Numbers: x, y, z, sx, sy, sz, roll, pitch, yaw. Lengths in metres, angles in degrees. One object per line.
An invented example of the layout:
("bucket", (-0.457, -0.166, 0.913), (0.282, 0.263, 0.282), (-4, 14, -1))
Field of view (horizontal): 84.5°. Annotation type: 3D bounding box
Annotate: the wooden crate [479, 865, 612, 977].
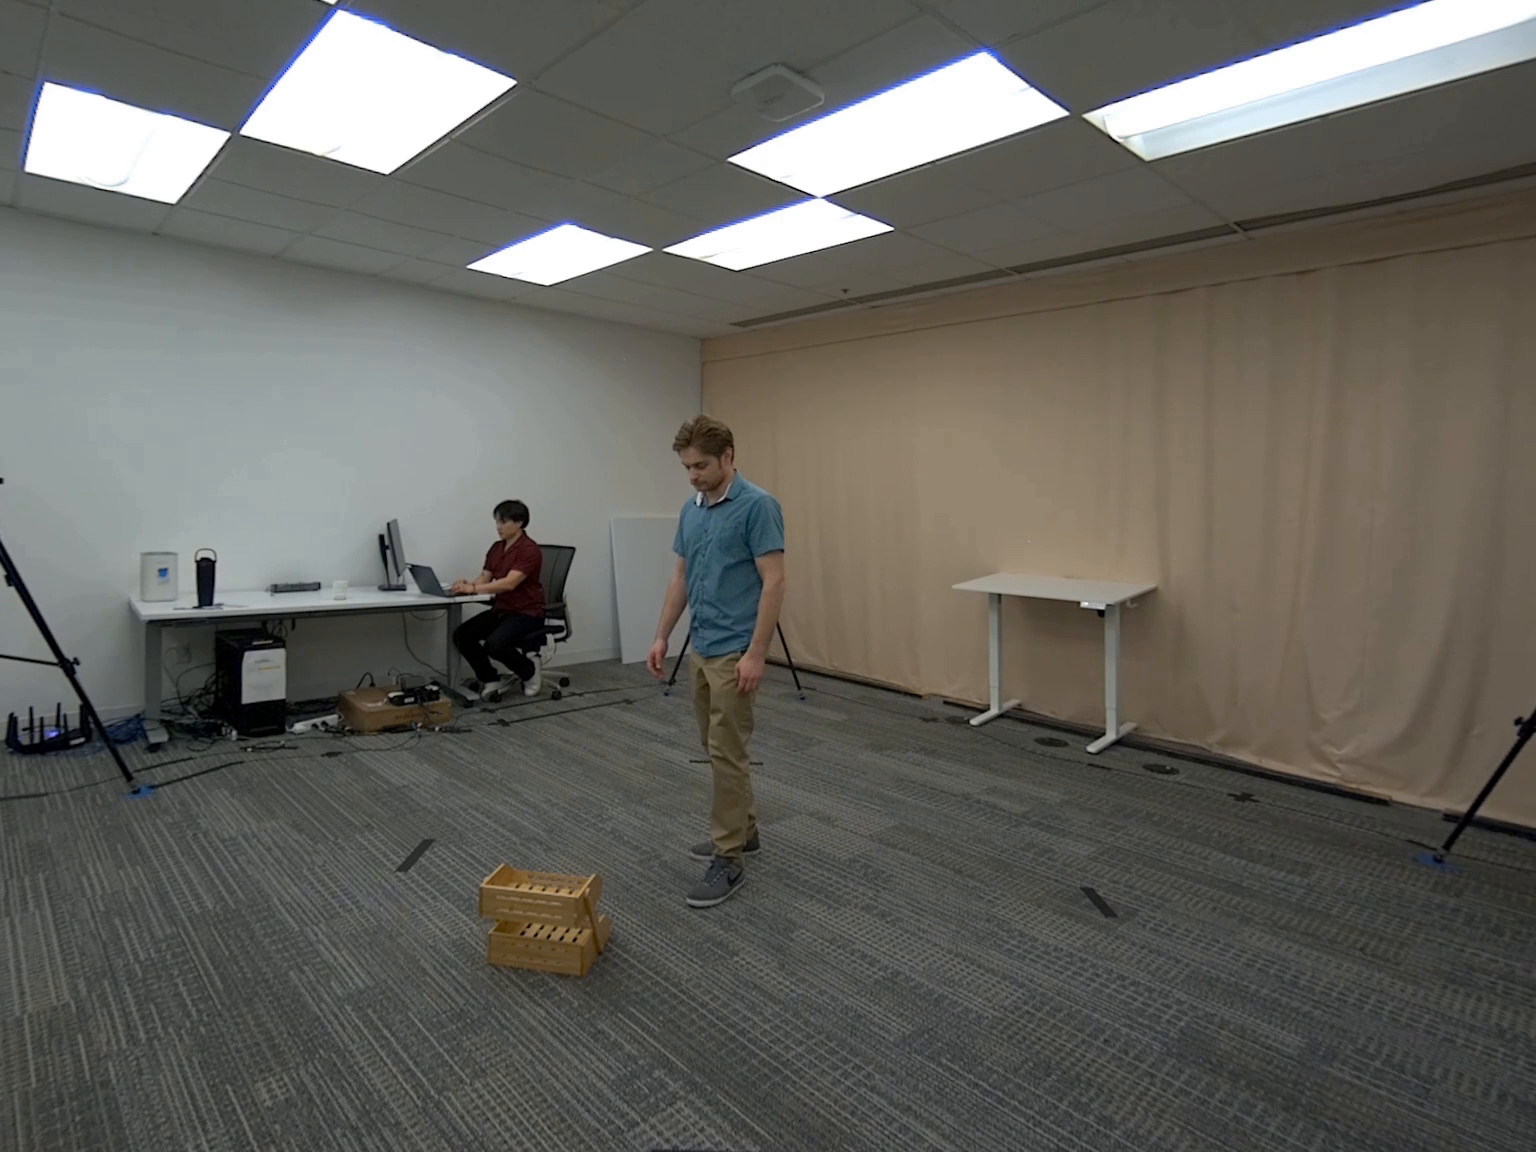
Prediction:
("wooden crate", (-0.671, 1.009, 2.549), (0.327, 0.272, 0.300), (2, 5, 9))
